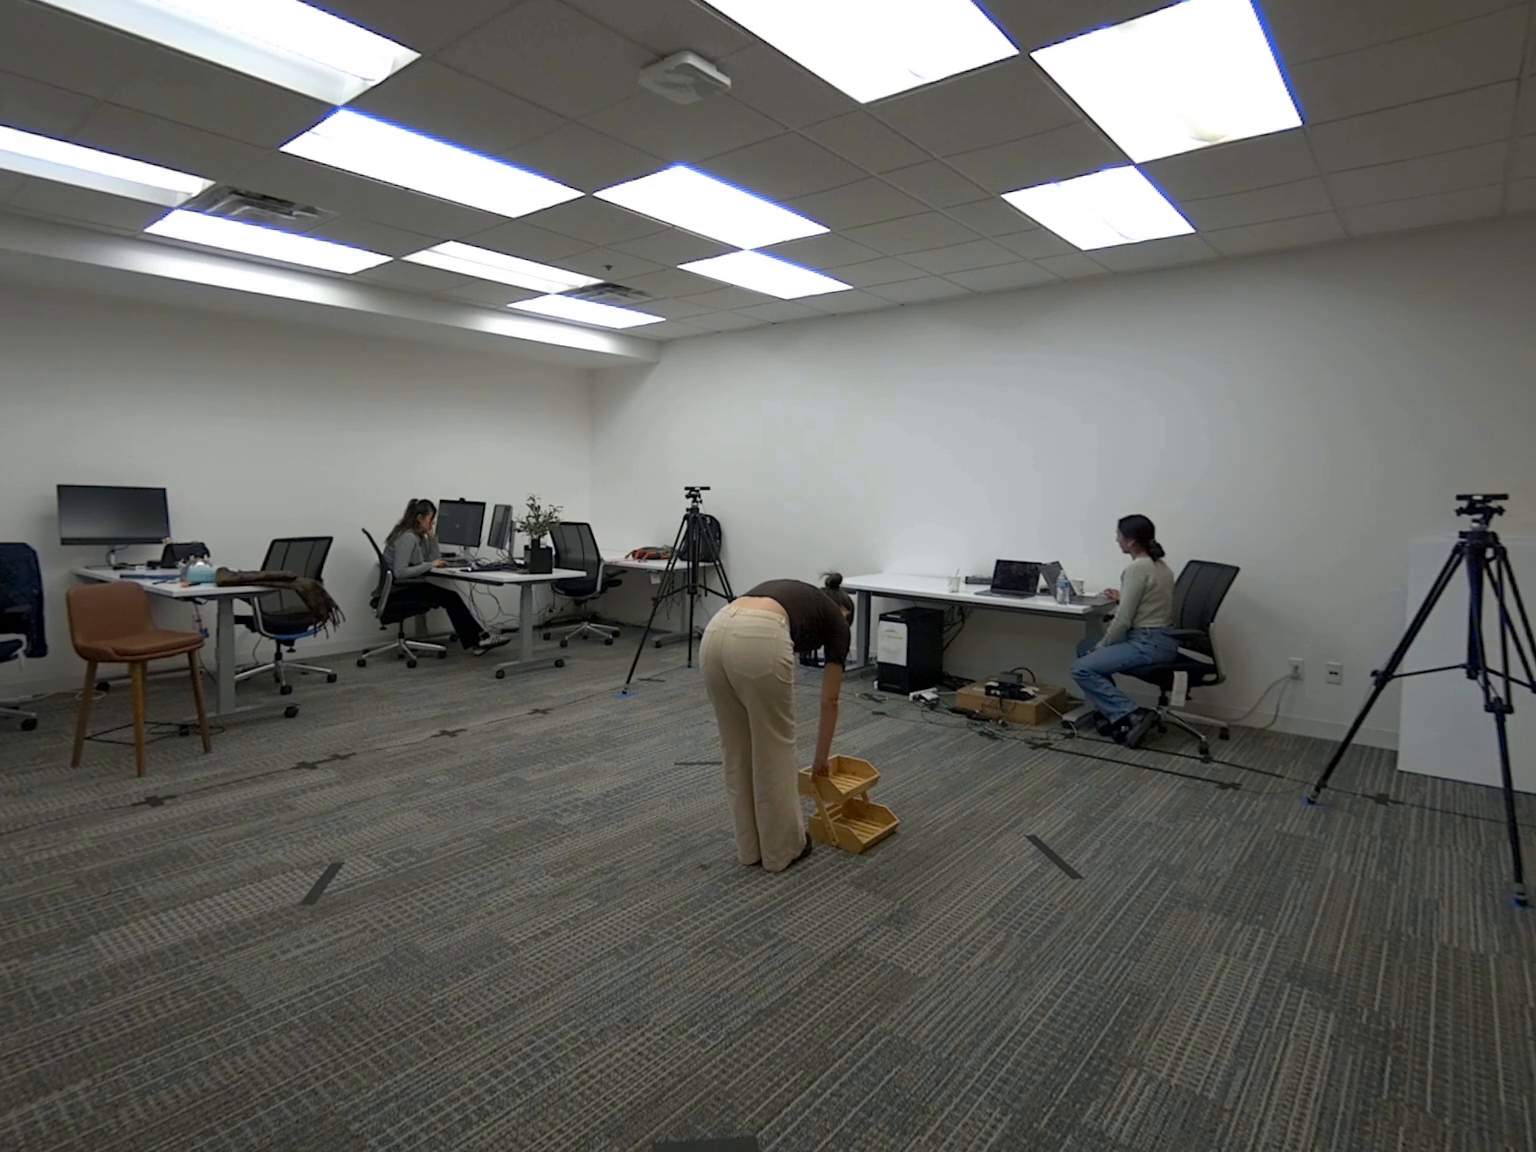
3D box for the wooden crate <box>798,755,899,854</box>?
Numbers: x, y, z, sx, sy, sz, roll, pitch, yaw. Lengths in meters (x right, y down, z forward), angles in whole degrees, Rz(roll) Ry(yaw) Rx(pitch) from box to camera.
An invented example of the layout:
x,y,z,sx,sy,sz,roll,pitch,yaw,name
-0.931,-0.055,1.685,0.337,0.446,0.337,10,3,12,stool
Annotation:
x,y,z,sx,sy,sz,roll,pitch,yaw,name
0.322,0.904,3.440,0.312,0.272,0.315,3,5,38,wooden crate
